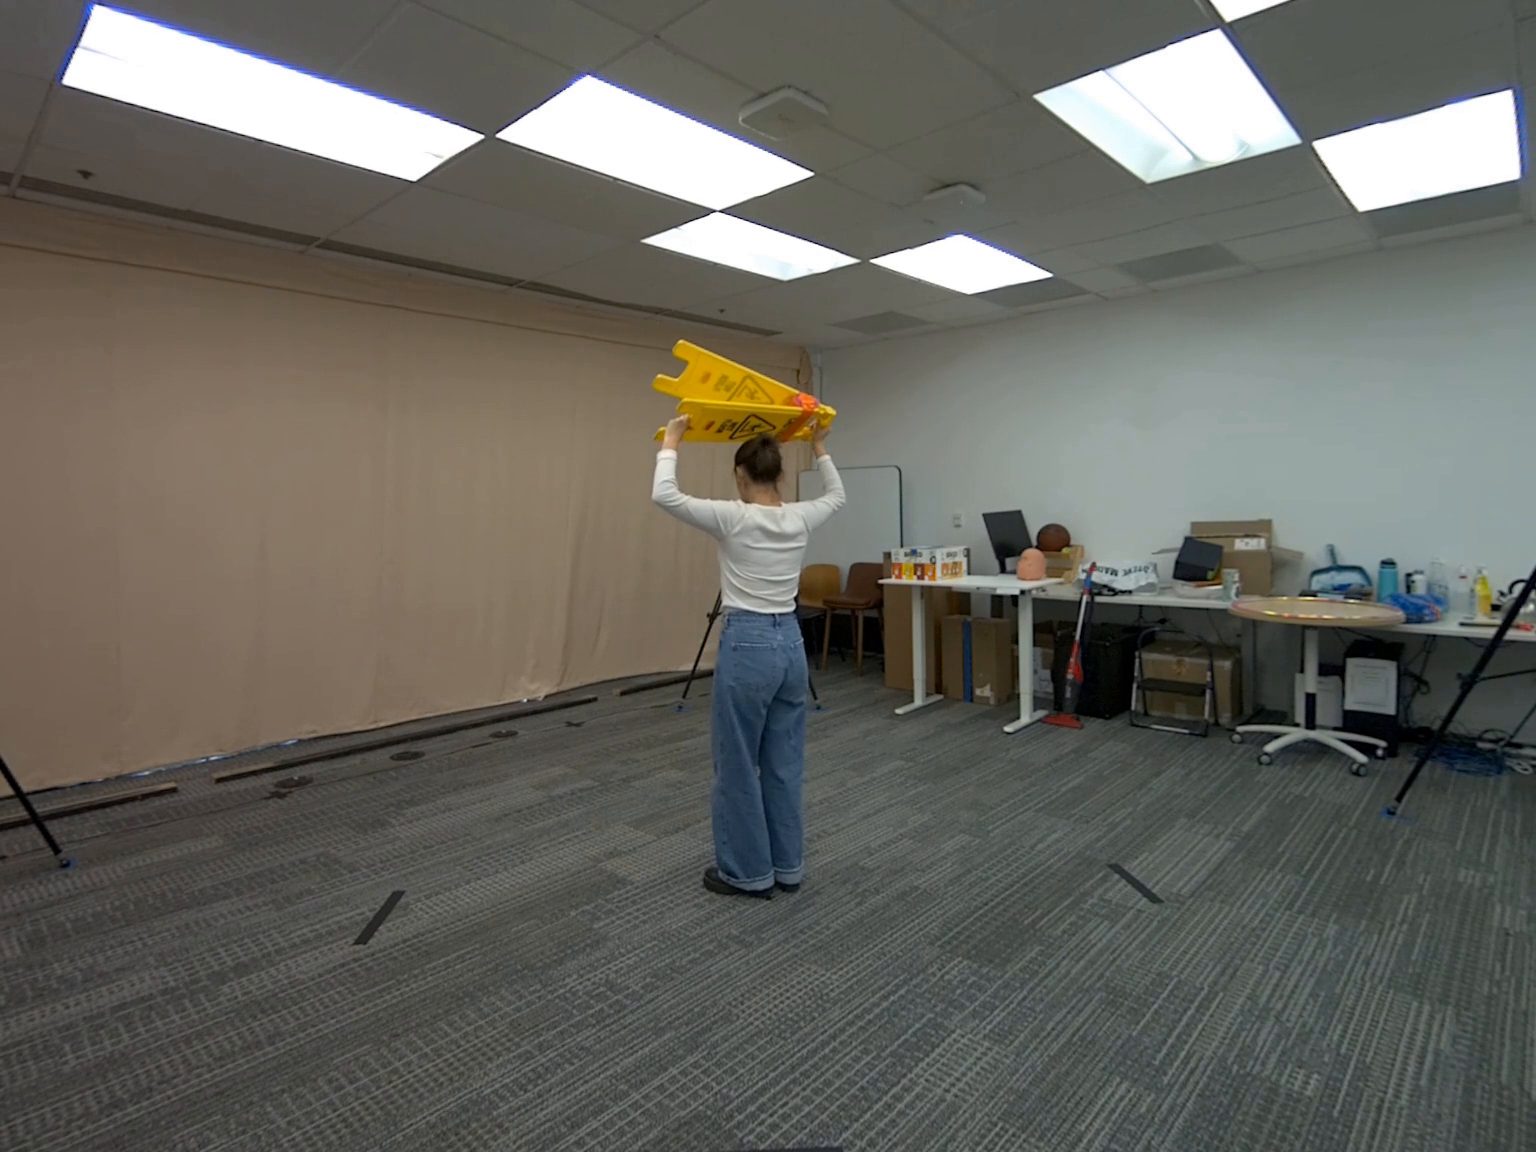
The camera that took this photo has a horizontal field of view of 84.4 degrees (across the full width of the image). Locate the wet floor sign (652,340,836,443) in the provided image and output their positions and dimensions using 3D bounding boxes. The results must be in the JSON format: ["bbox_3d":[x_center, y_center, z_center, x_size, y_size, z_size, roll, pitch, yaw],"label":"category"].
[{"bbox_3d":[-0.068,-0.611,3.082,0.629,0.294,0.285,7,-27,-26],"label":"wet floor sign"}]
